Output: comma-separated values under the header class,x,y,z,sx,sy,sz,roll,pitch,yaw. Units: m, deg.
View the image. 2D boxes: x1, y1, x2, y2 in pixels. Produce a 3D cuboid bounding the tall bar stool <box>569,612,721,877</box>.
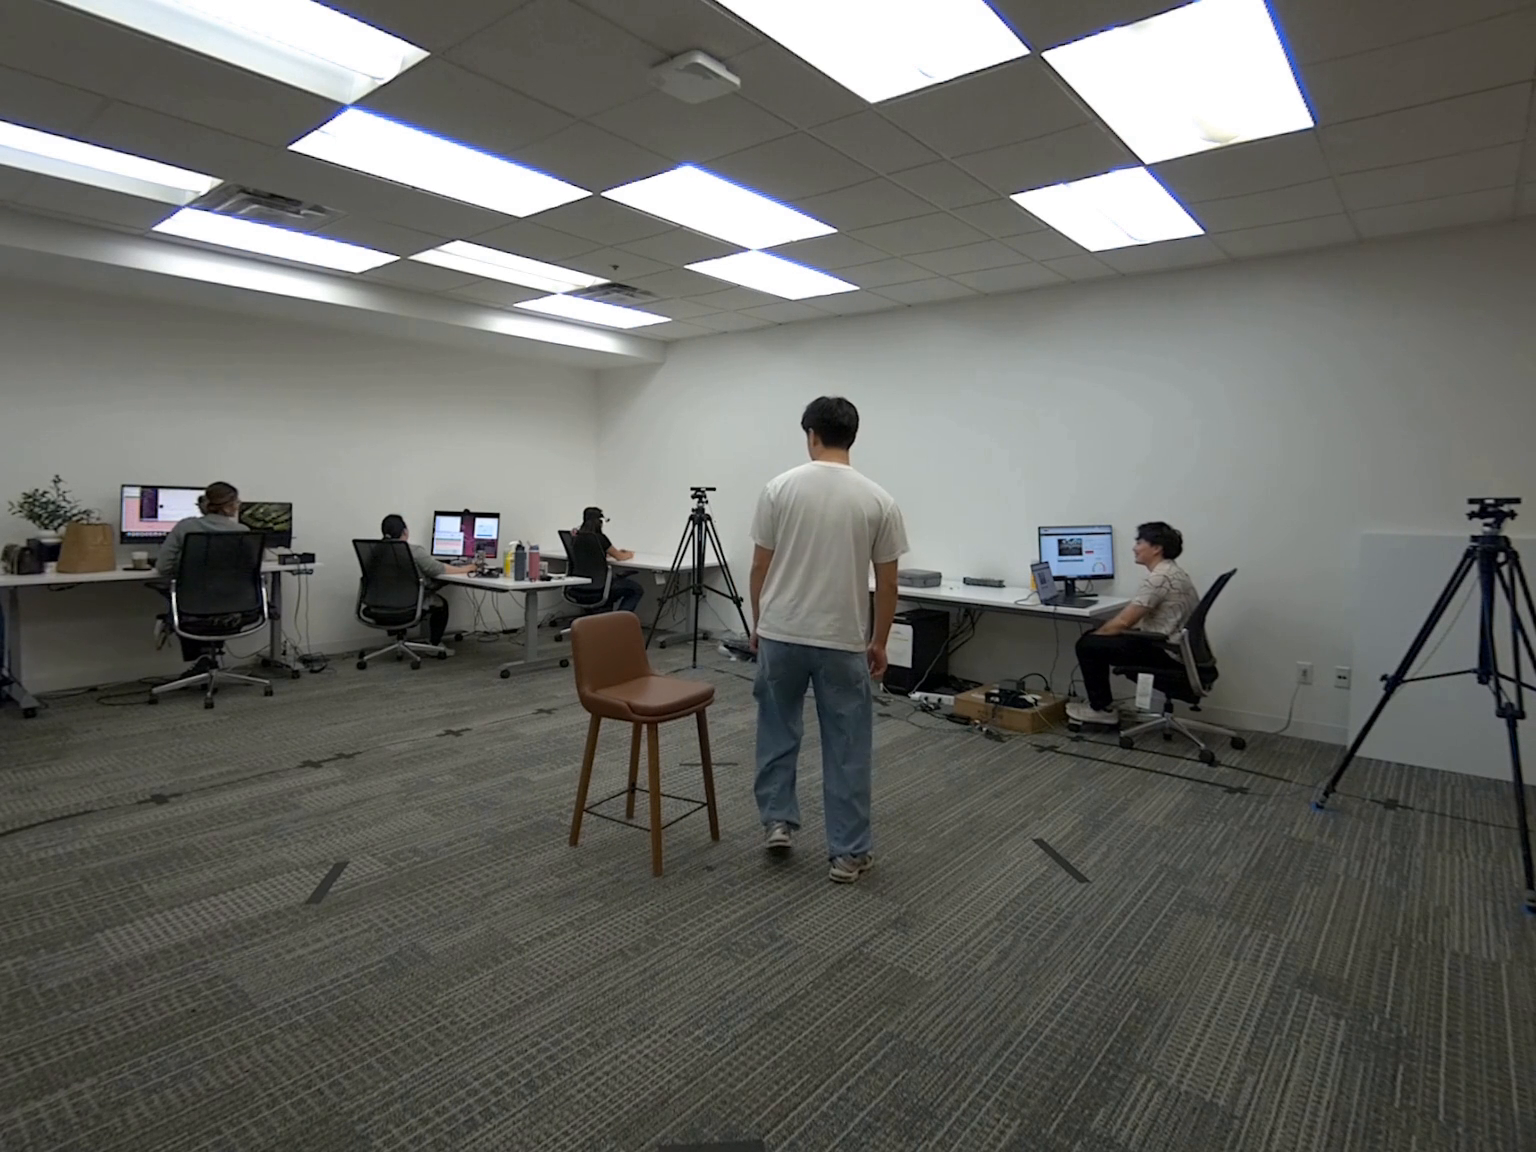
class,x,y,z,sx,sy,sz,roll,pitch,yaw
tall bar stool,-0.491,0.604,3.311,0.481,0.888,0.444,0,2,32
